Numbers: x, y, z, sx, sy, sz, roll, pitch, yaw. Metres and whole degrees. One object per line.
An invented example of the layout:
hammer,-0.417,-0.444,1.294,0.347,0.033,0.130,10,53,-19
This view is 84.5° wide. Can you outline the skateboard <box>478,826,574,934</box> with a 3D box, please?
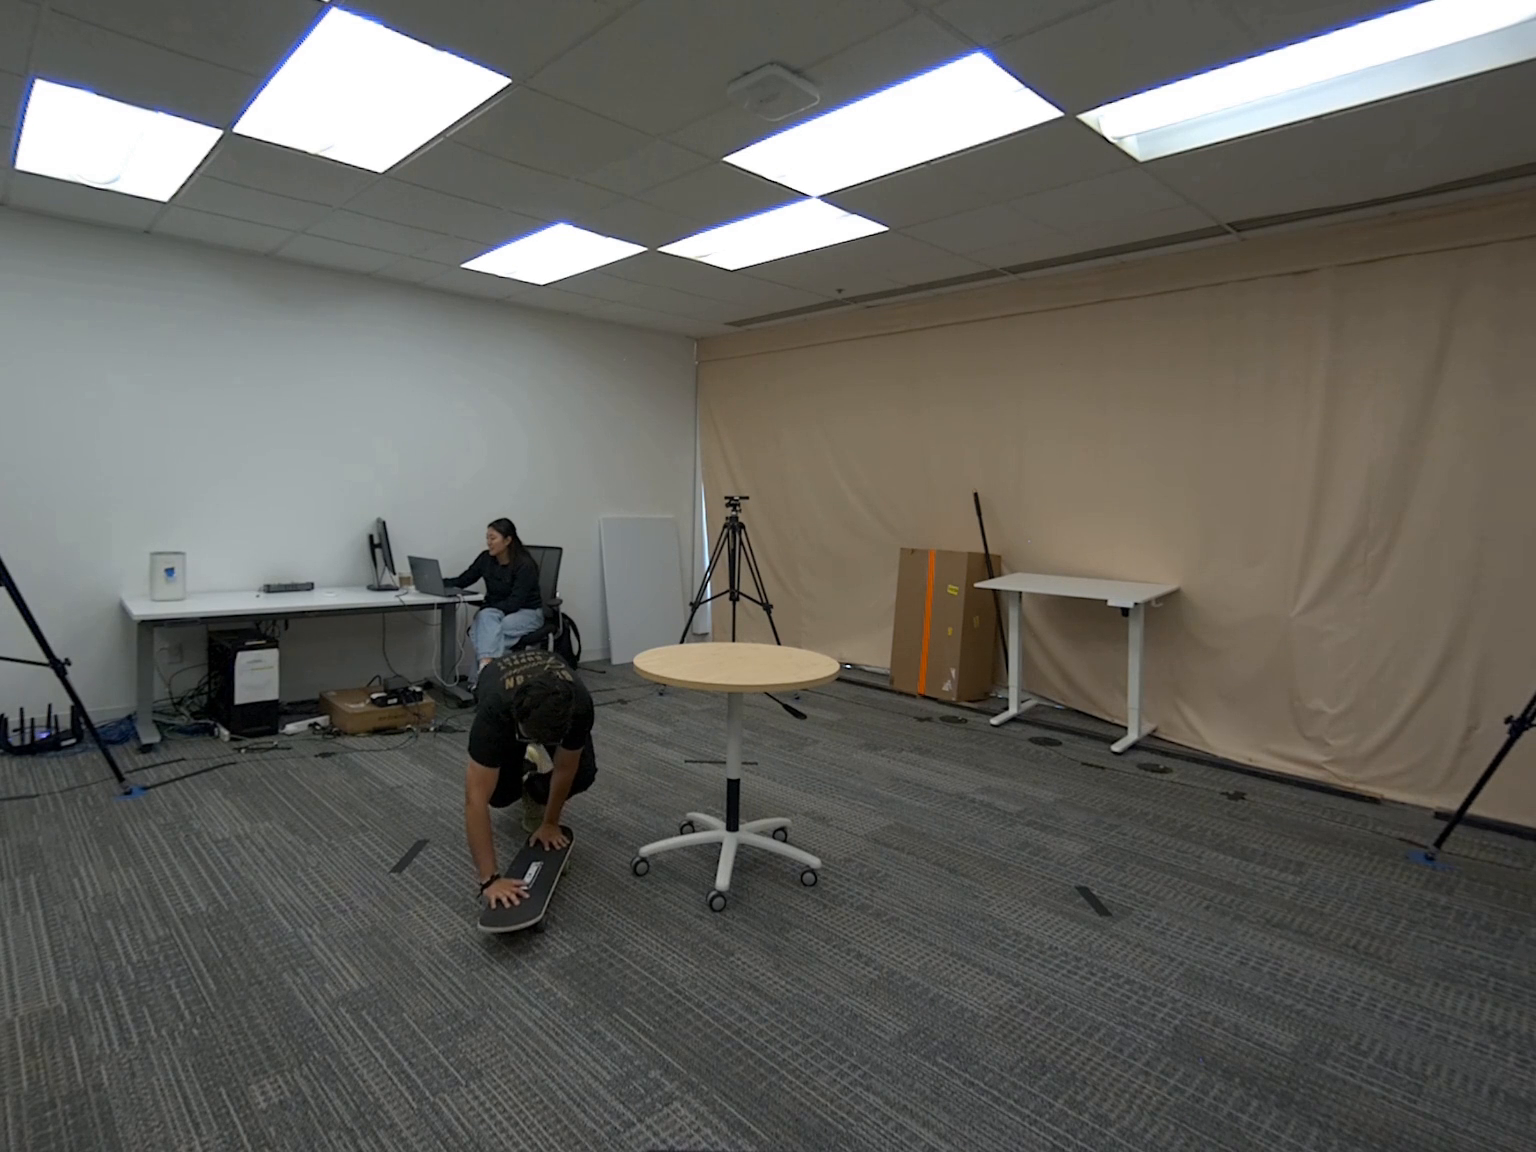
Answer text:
skateboard,-0.808,1.053,2.877,0.193,0.110,0.789,-3,5,-4
